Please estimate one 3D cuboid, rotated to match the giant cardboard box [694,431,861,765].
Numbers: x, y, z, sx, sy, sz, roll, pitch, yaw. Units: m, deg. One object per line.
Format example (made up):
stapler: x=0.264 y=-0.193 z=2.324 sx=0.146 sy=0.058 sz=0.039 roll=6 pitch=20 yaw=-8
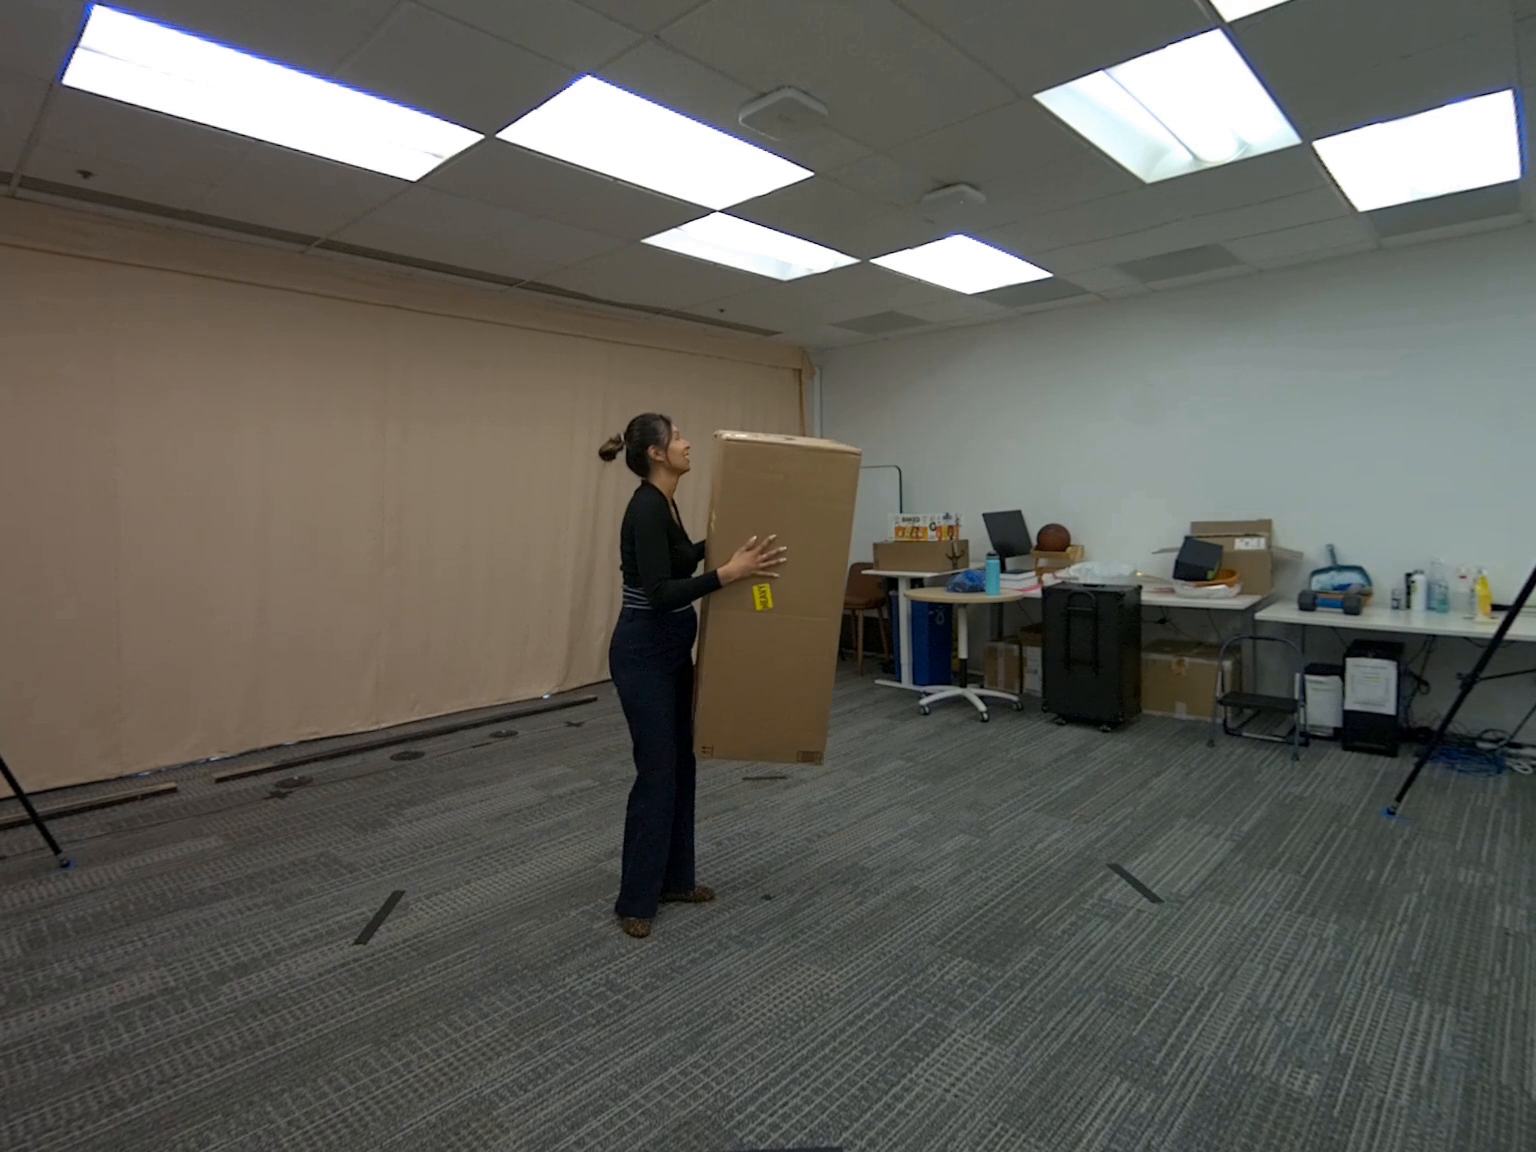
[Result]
giant cardboard box: x=-0.004 y=0.045 z=2.895 sx=0.424 sy=1.020 sz=0.584 roll=5 pitch=10 yaw=-6
